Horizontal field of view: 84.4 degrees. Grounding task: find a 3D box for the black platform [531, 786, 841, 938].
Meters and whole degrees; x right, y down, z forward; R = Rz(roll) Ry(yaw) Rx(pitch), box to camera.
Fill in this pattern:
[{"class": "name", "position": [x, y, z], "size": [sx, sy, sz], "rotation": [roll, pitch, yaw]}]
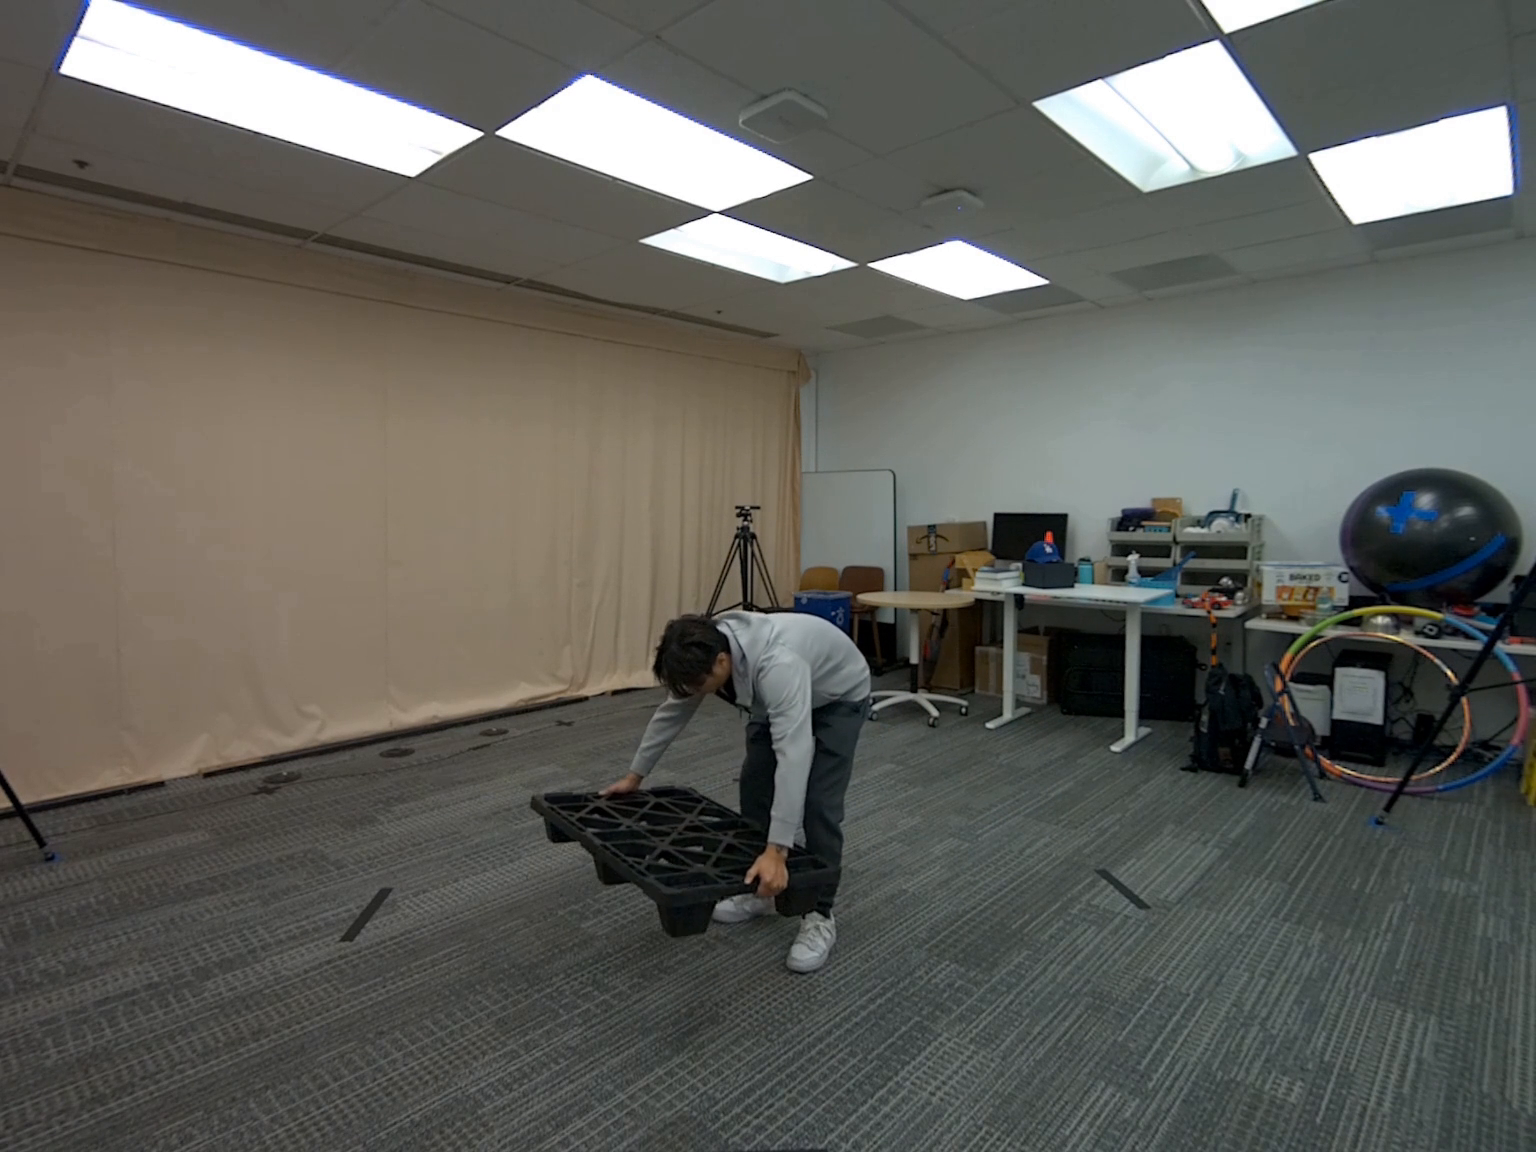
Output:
[{"class": "black platform", "position": [-0.275, 0.815, 2.487], "size": [0.585, 0.143, 0.832], "rotation": [8, 0, -38]}]
